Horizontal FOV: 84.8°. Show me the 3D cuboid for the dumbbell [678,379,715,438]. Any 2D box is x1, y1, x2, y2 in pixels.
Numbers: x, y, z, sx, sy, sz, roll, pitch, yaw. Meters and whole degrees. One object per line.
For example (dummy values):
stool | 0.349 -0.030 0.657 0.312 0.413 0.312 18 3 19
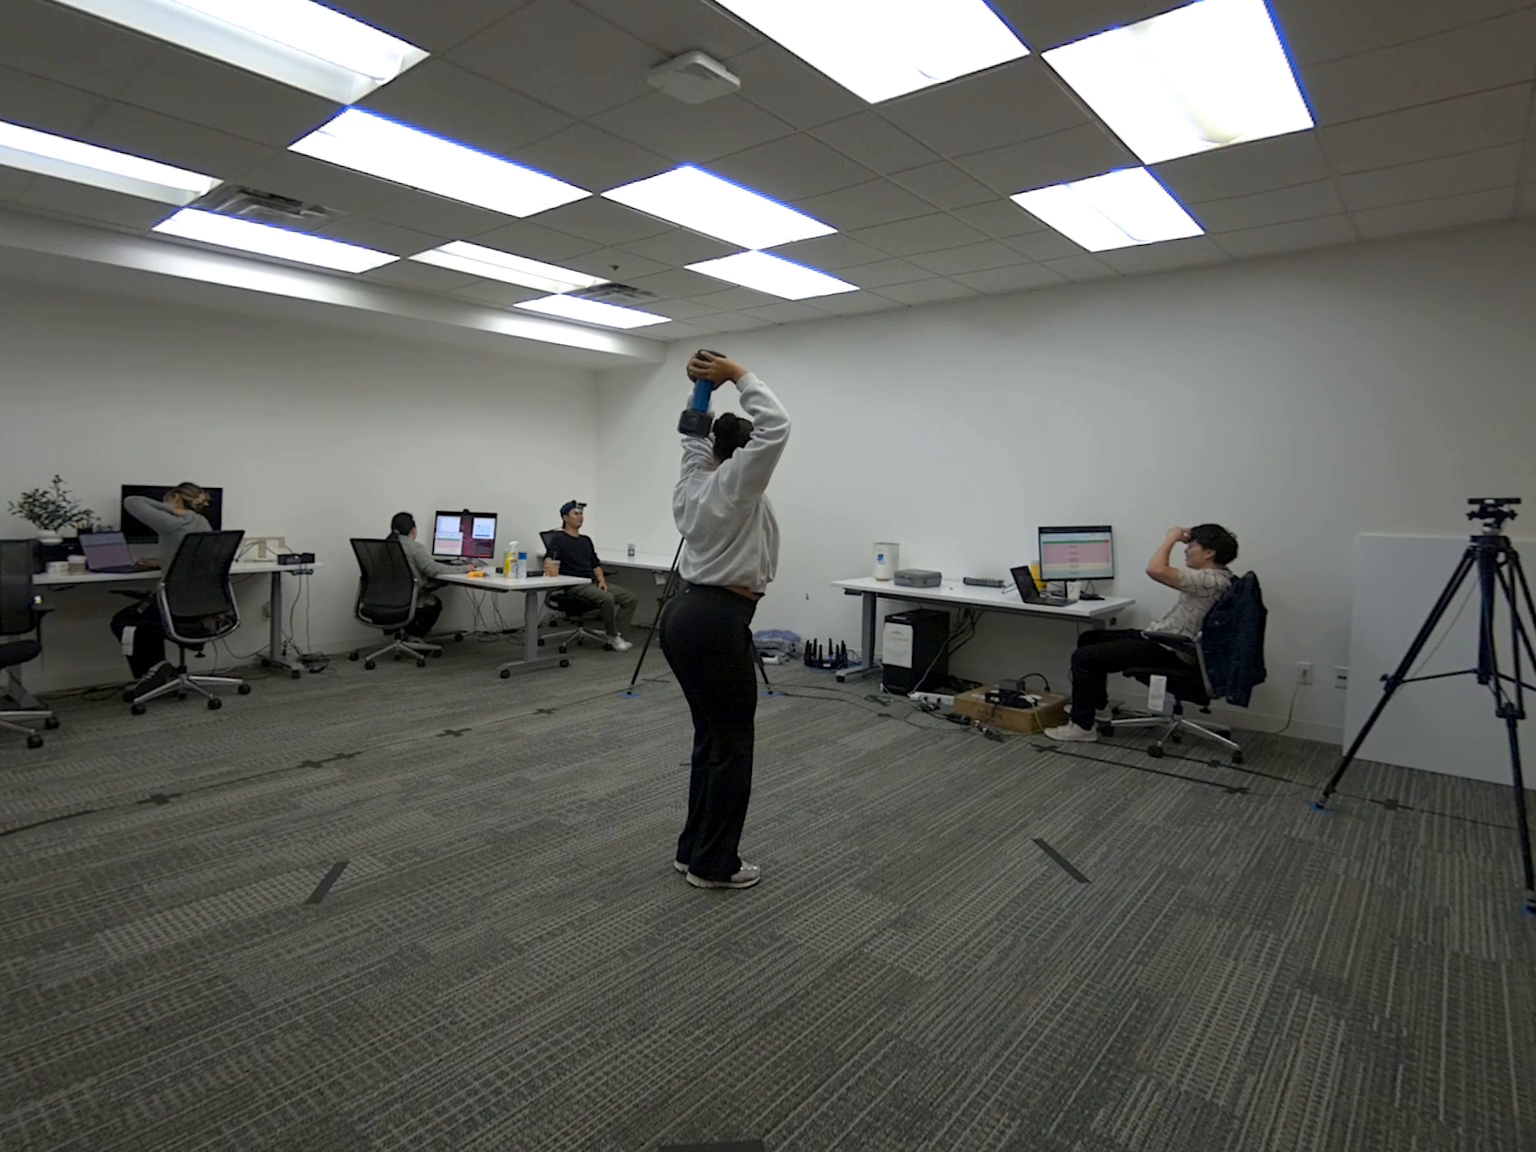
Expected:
dumbbell | -0.235 -0.631 2.933 0.126 0.294 0.106 13 -2 17
